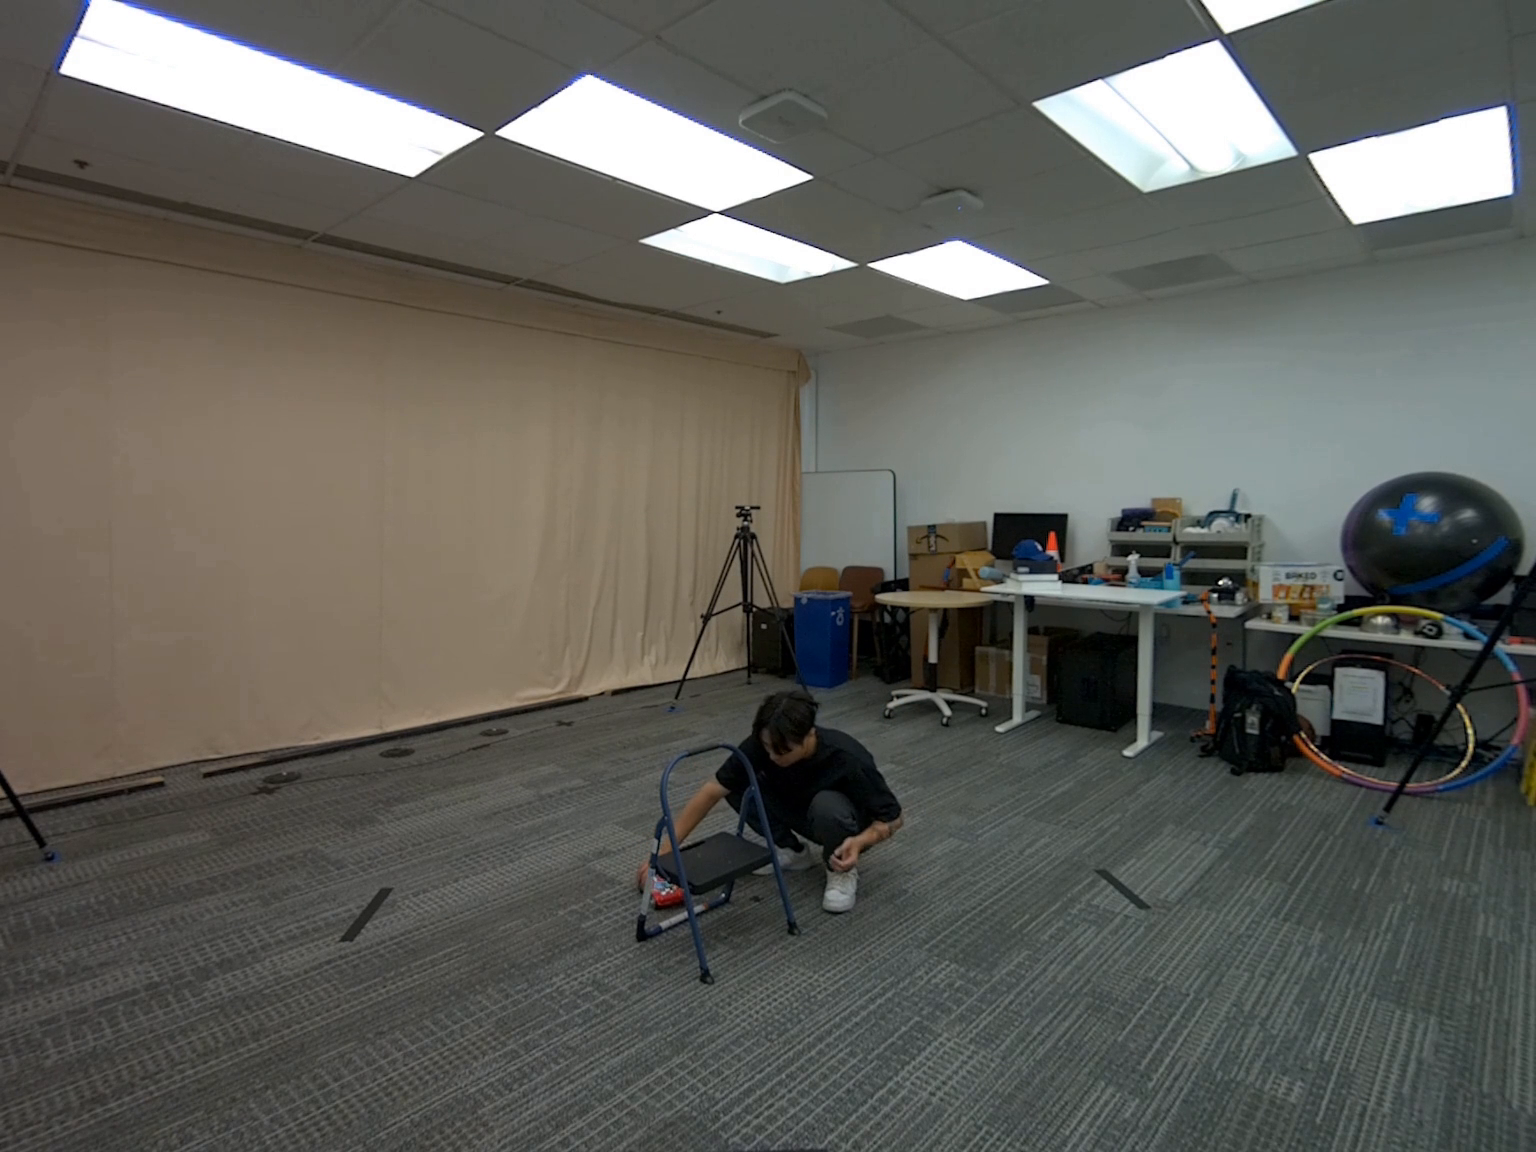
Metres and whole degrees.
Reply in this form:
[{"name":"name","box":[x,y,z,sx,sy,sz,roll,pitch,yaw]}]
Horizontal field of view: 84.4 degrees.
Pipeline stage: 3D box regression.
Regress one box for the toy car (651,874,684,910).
[{"name":"toy car","box":[-0.388,1.120,3.024,0.127,0.083,0.262,-1,9,-24]}]
